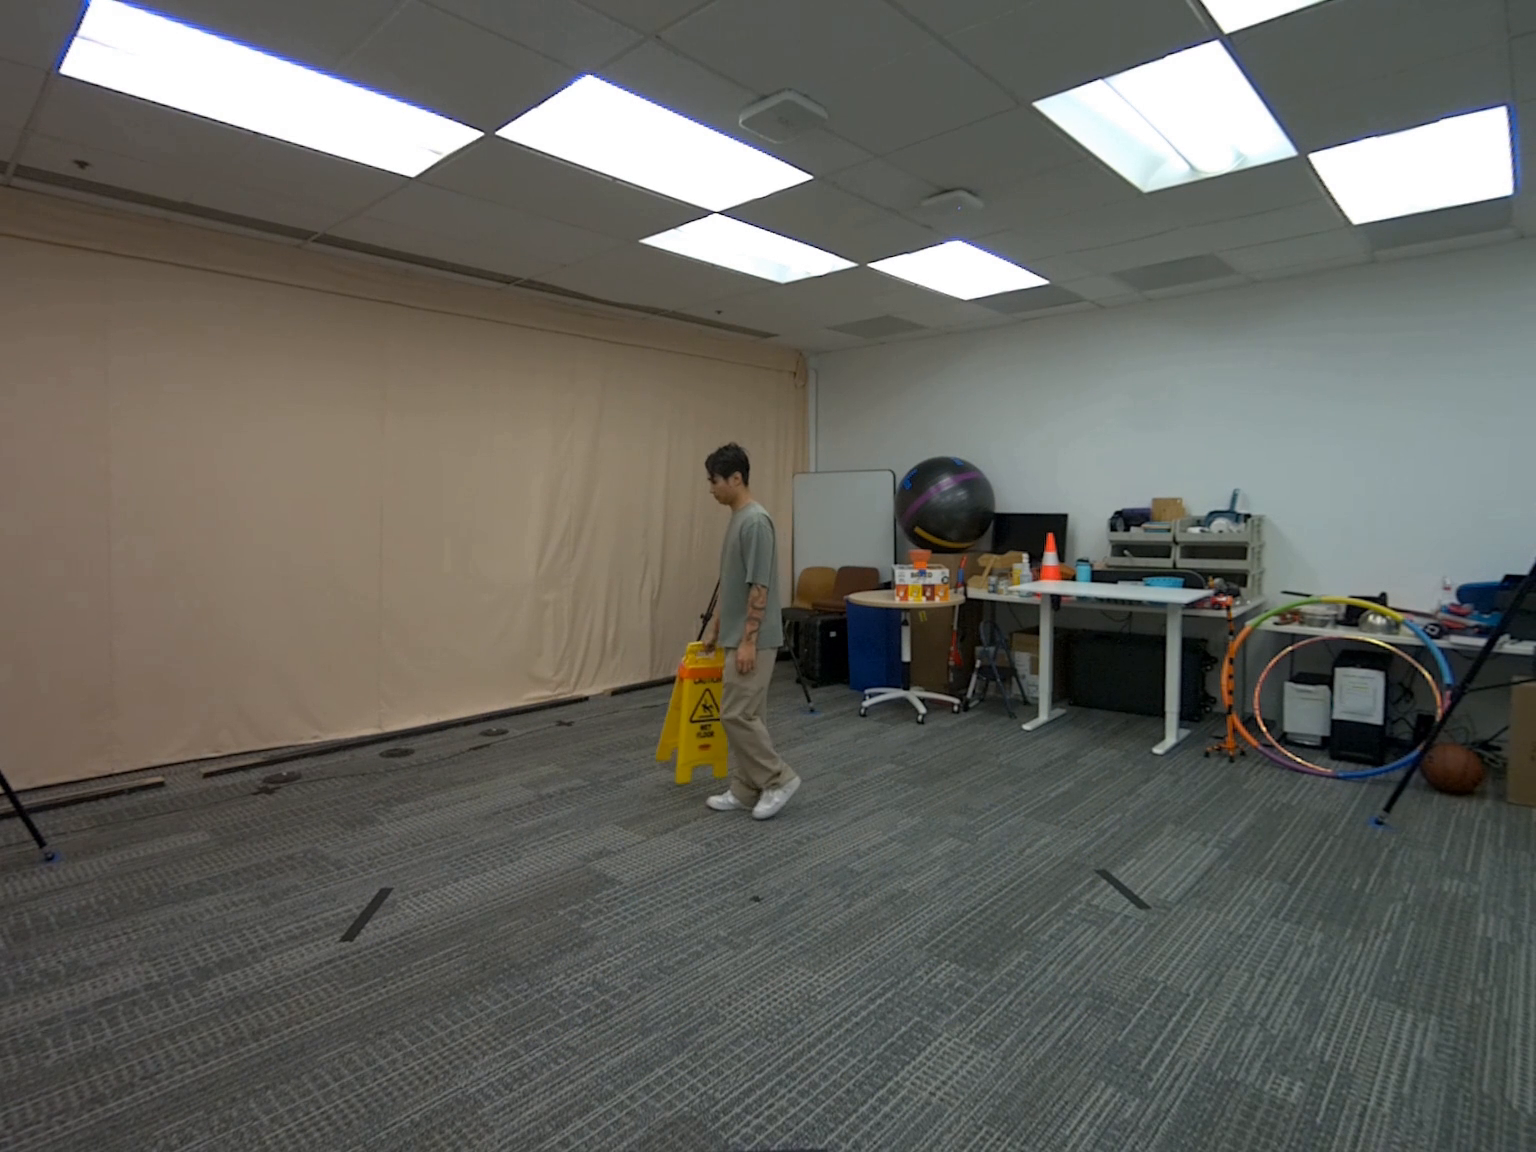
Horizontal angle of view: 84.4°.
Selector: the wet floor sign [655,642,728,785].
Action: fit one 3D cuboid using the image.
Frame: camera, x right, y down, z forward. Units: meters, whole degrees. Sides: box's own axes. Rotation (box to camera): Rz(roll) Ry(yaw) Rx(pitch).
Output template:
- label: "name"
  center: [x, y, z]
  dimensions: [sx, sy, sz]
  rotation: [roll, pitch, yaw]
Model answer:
- label: "wet floor sign"
  center: [-0.320, 0.628, 4.039]
  dimensions: [0.274, 0.642, 0.299]
  rotation: [0, 13, -30]
